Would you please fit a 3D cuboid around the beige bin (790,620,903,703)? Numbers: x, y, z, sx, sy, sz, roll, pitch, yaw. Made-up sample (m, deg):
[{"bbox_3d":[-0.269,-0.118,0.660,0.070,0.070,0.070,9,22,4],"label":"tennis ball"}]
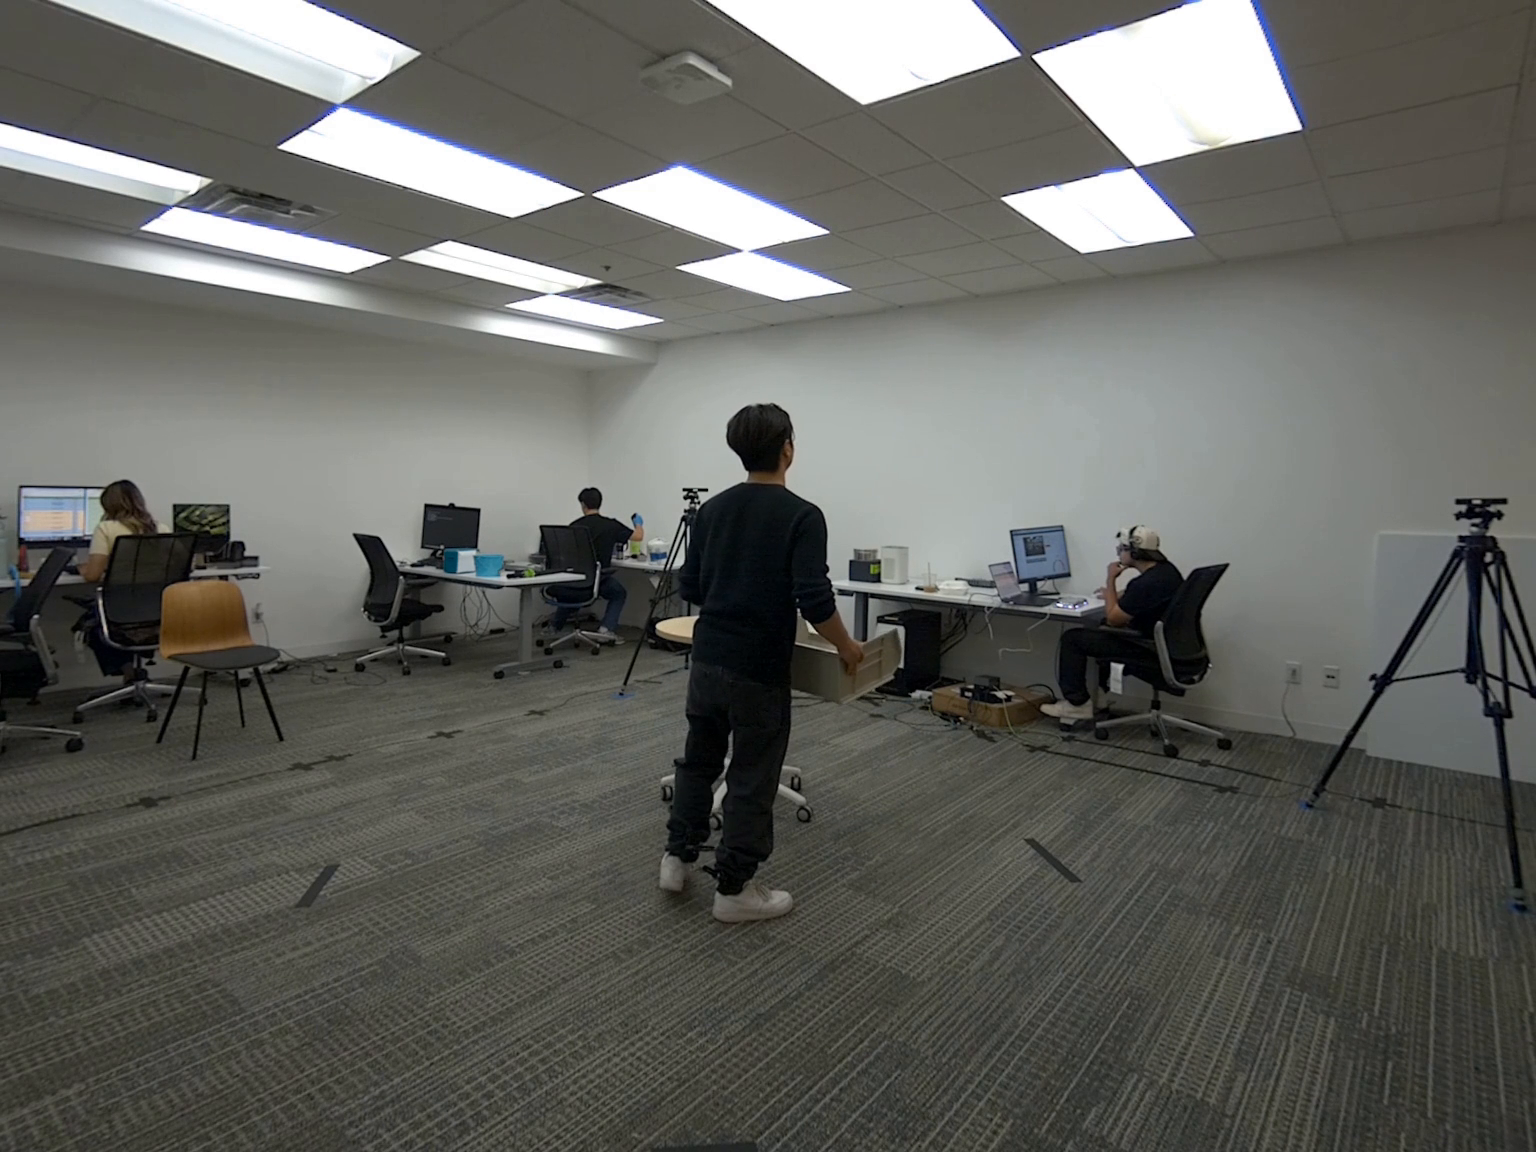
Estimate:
[{"bbox_3d":[0.184,0.265,2.993,0.437,0.186,0.369,8,18,40],"label":"beige bin"}]
